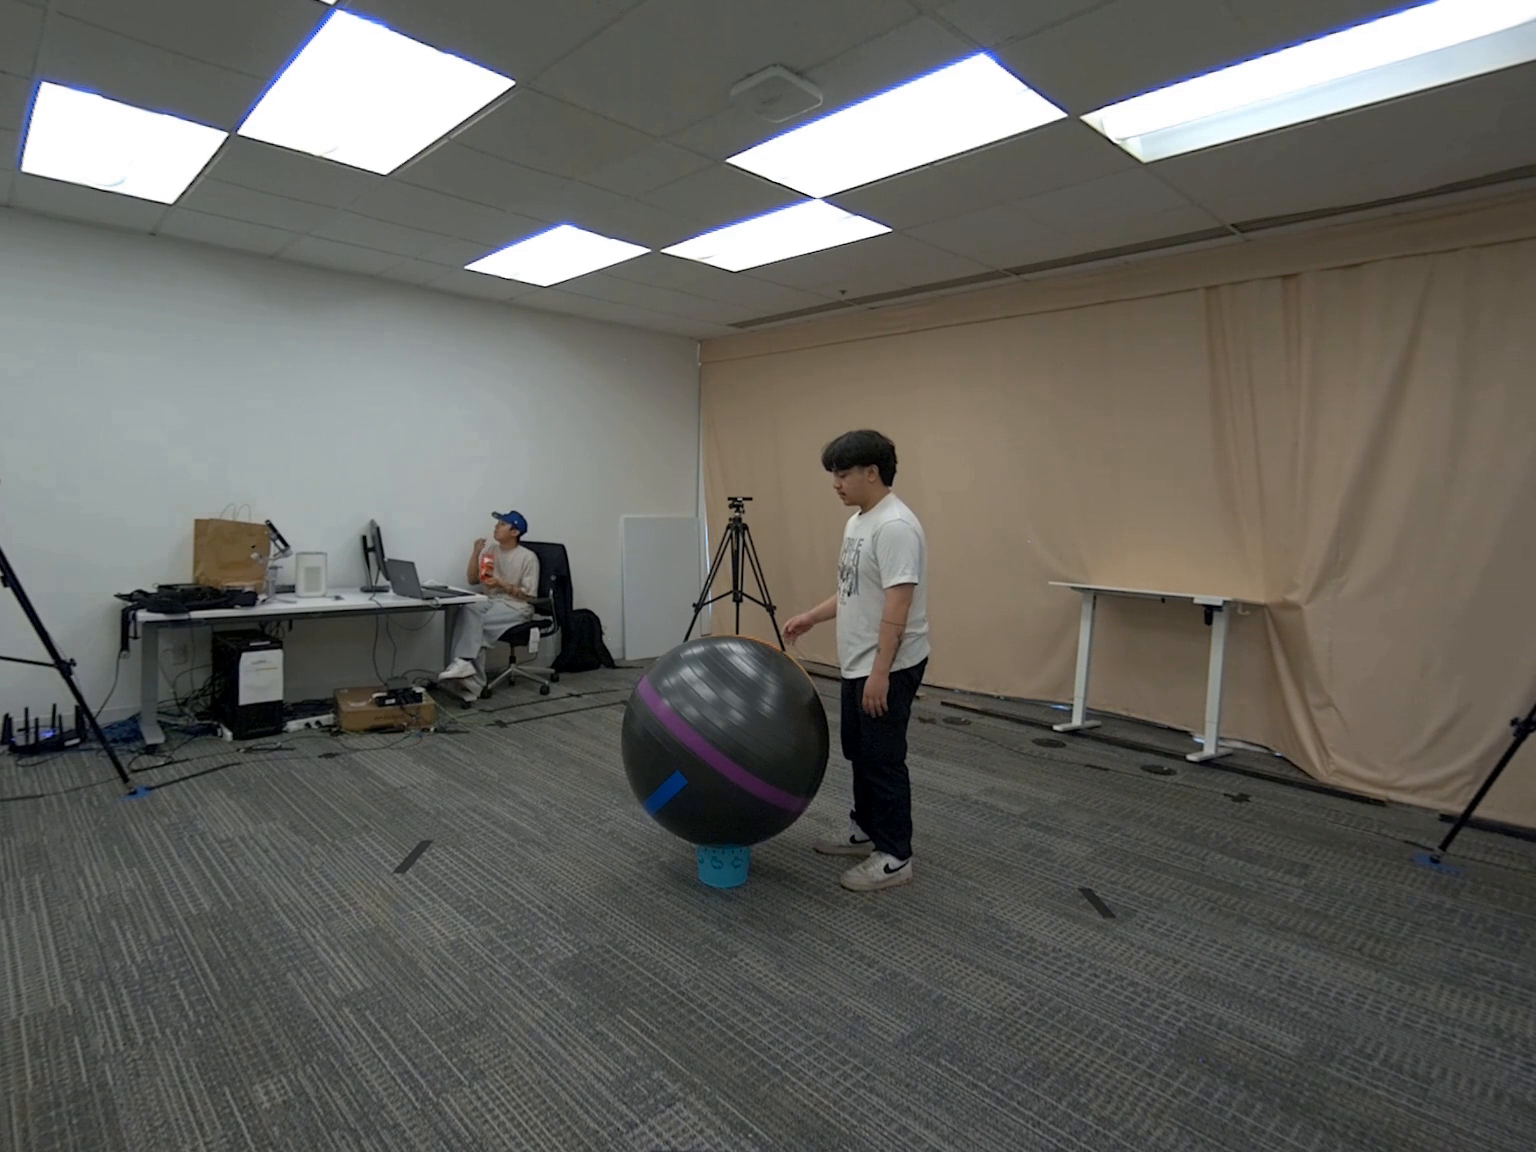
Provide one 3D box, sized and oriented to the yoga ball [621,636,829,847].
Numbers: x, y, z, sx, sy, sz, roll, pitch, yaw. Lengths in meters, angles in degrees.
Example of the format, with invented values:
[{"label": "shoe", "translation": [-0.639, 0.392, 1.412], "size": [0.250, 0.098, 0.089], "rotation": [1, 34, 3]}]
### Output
[{"label": "yoga ball", "translation": [-0.165, 0.601, 3.088], "size": [0.757, 0.756, 0.761], "rotation": [1, 4, -1]}]
